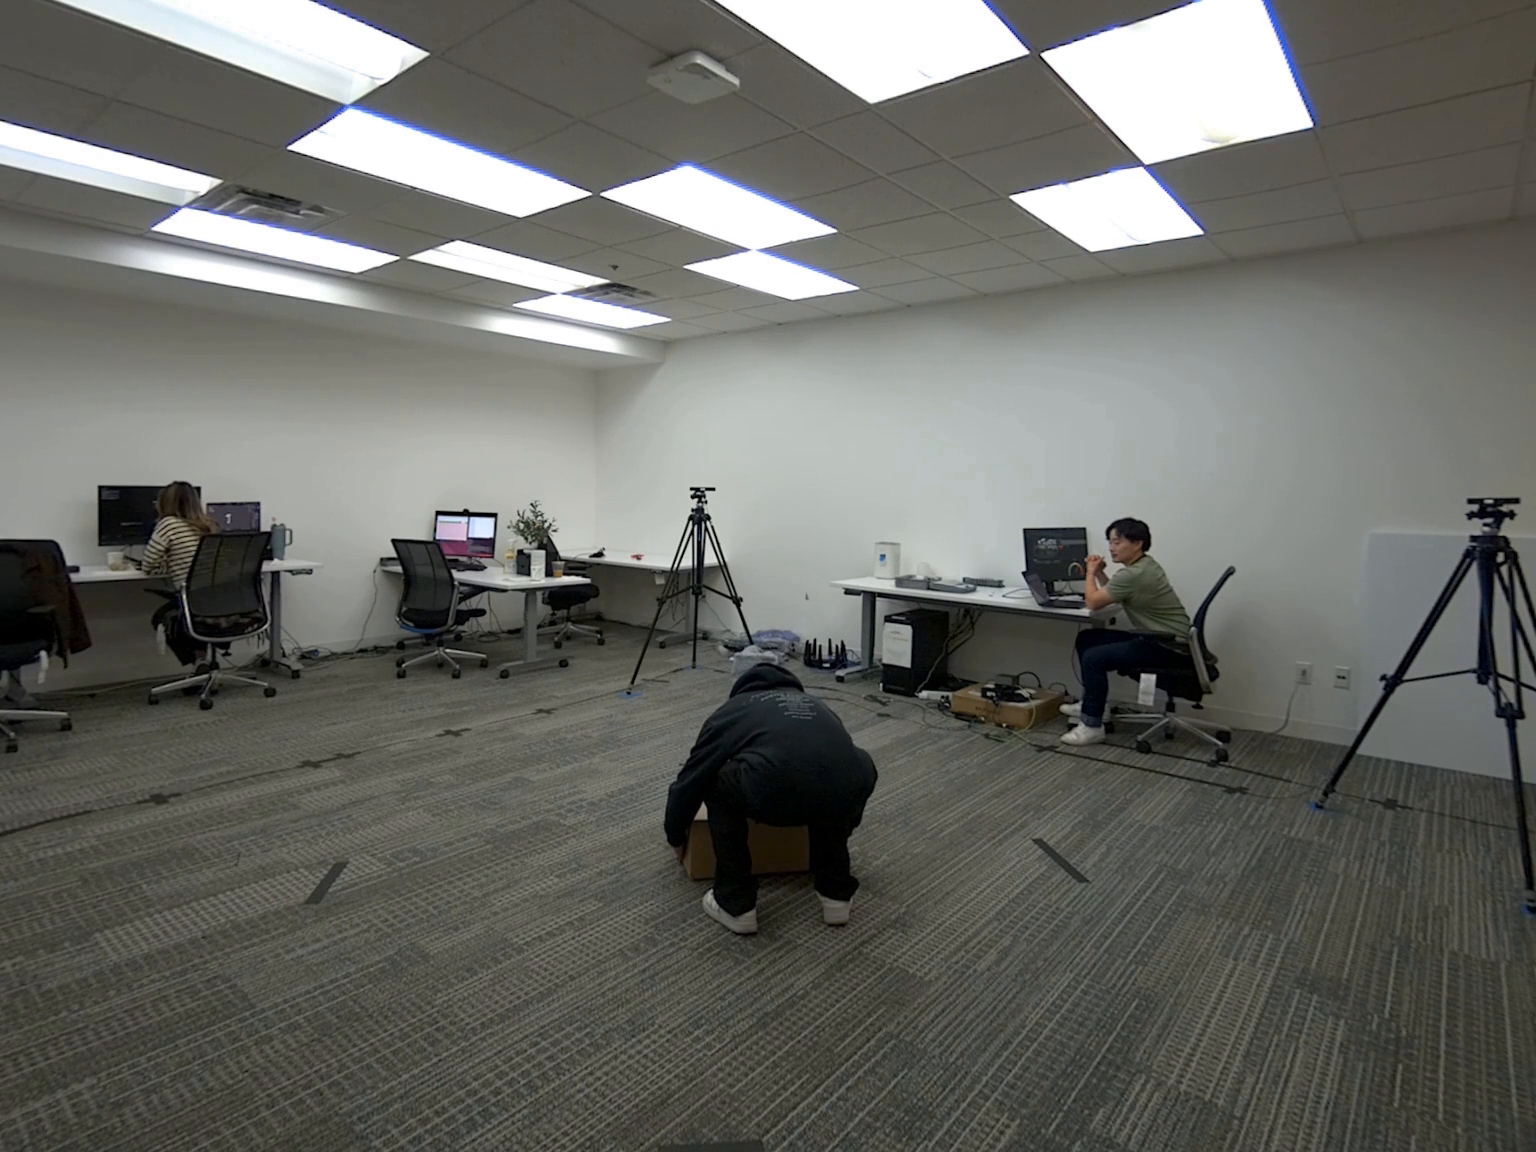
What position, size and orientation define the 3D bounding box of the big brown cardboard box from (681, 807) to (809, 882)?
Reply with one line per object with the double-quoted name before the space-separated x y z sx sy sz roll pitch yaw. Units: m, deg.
"big brown cardboard box" -0.064 0.937 3.245 0.581 0.232 0.425 1 5 -13
